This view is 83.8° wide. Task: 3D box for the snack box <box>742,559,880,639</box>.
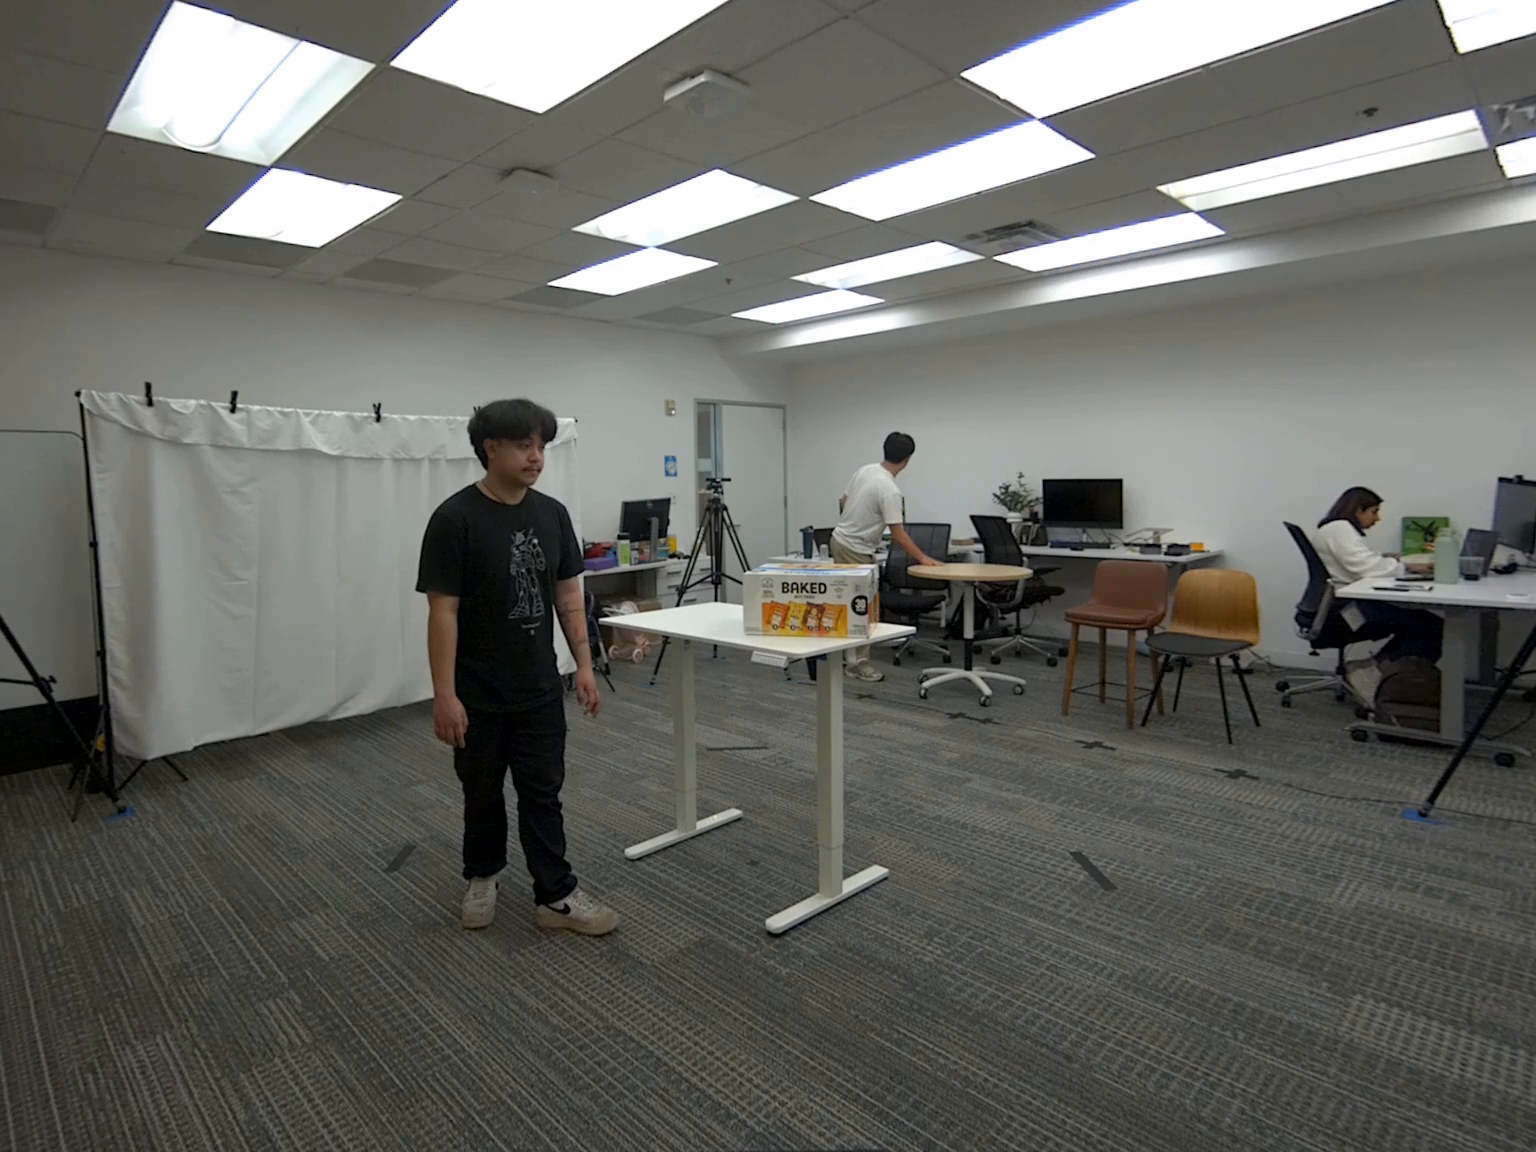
[{"bbox_3d":[0.155,0.077,2.885,0.411,0.205,0.337,0,5,14],"label":"snack box"}]
